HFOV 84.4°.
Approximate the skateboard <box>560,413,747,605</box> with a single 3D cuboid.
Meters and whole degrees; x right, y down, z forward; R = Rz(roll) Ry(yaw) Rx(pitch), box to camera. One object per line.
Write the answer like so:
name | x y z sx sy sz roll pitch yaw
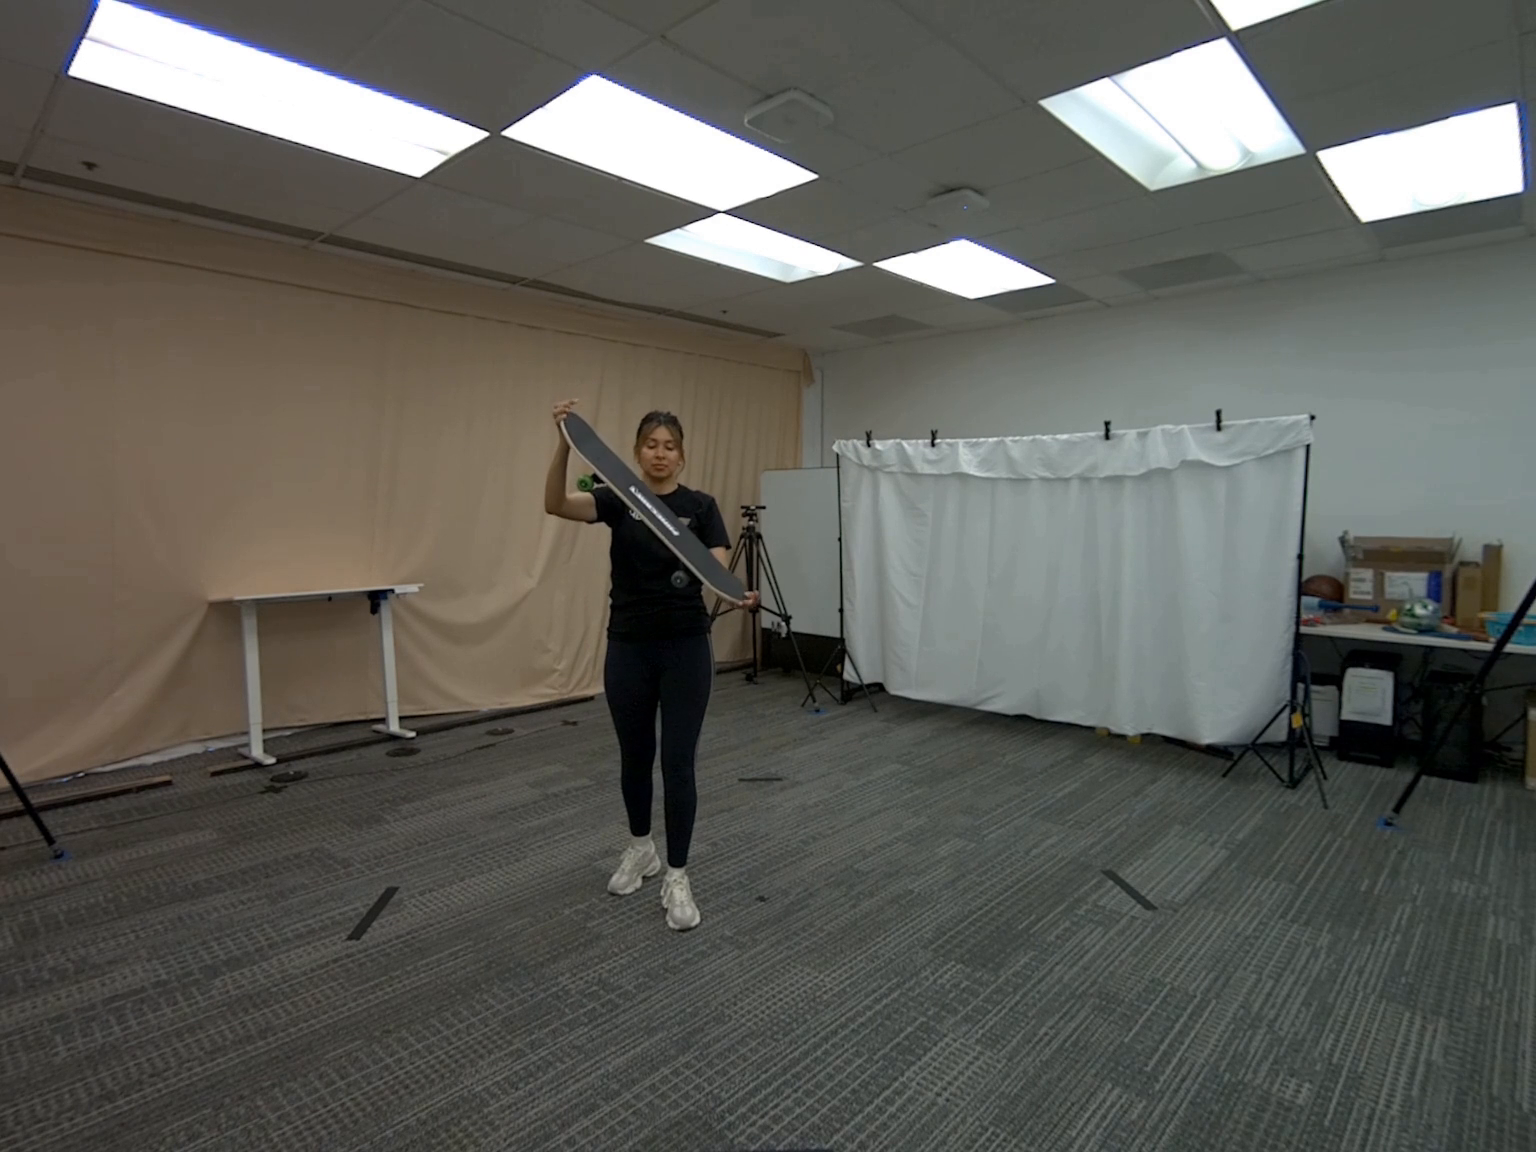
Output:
skateboard | -0.359 -0.170 2.553 0.111 0.780 0.193 -41 6 21
